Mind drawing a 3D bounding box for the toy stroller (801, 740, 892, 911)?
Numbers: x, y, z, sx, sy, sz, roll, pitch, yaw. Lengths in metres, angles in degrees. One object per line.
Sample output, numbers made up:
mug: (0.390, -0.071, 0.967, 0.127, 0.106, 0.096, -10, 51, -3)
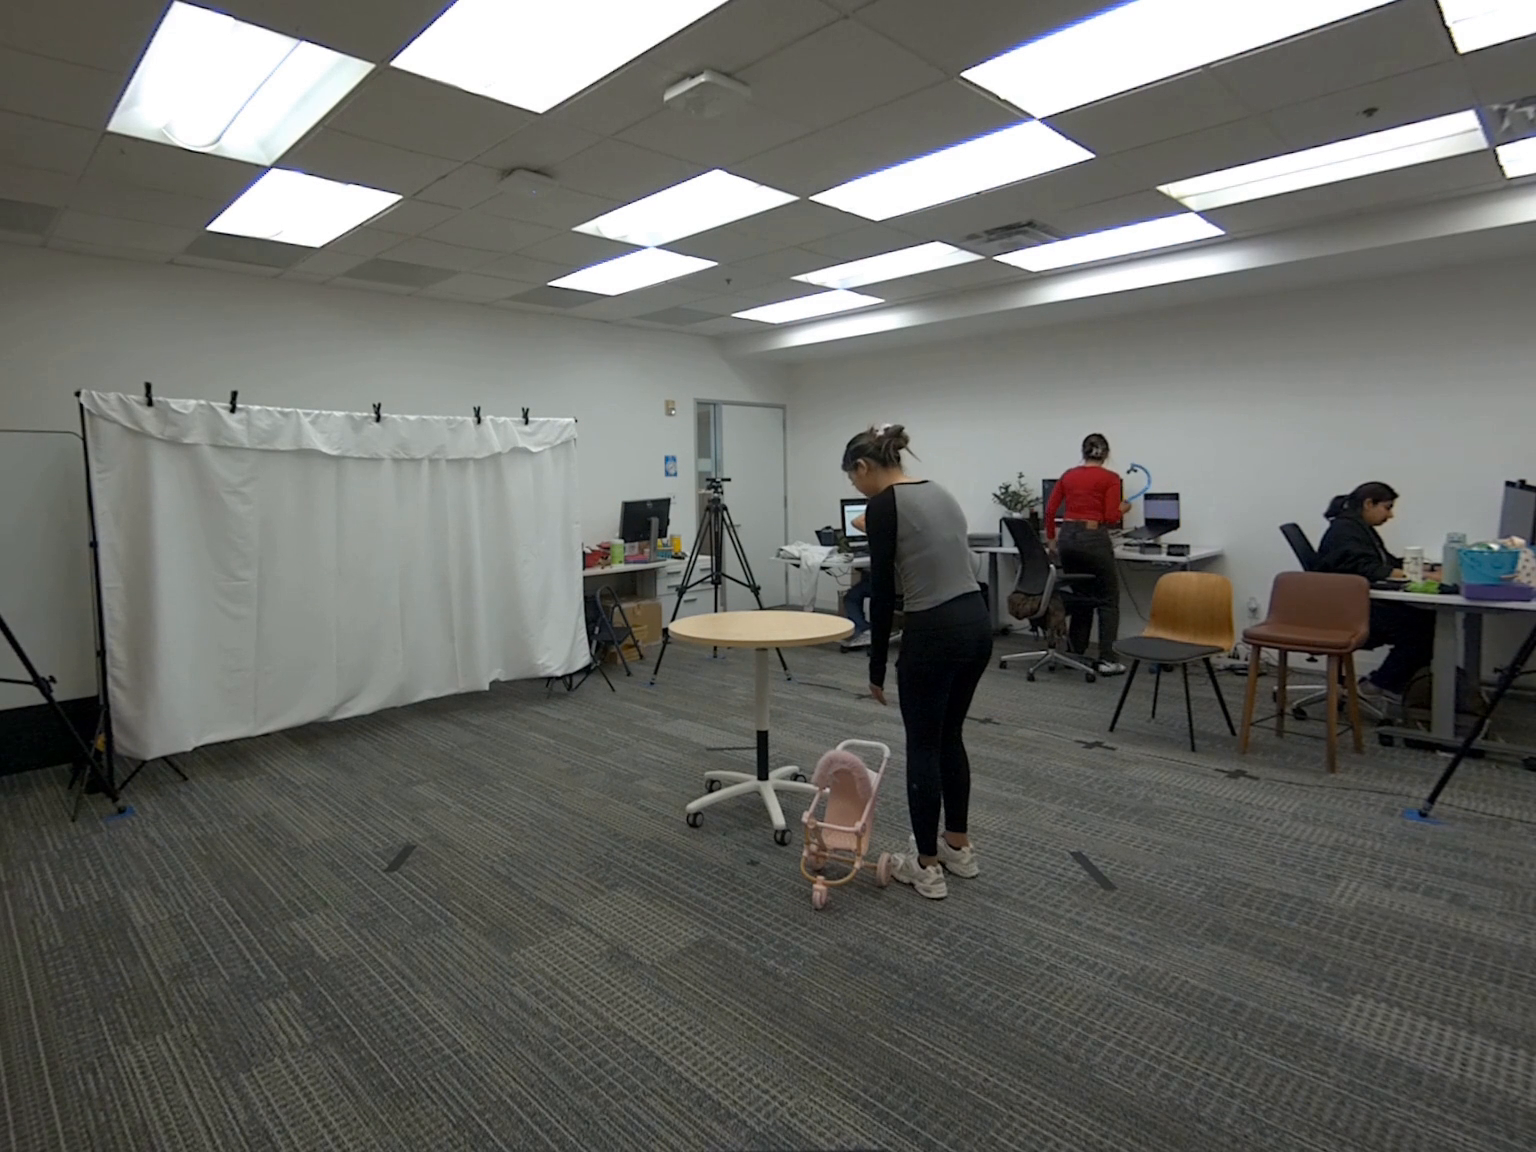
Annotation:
toy stroller: (0.254, 0.833, 2.917, 0.289, 0.539, 0.329, 0, -11, 33)
